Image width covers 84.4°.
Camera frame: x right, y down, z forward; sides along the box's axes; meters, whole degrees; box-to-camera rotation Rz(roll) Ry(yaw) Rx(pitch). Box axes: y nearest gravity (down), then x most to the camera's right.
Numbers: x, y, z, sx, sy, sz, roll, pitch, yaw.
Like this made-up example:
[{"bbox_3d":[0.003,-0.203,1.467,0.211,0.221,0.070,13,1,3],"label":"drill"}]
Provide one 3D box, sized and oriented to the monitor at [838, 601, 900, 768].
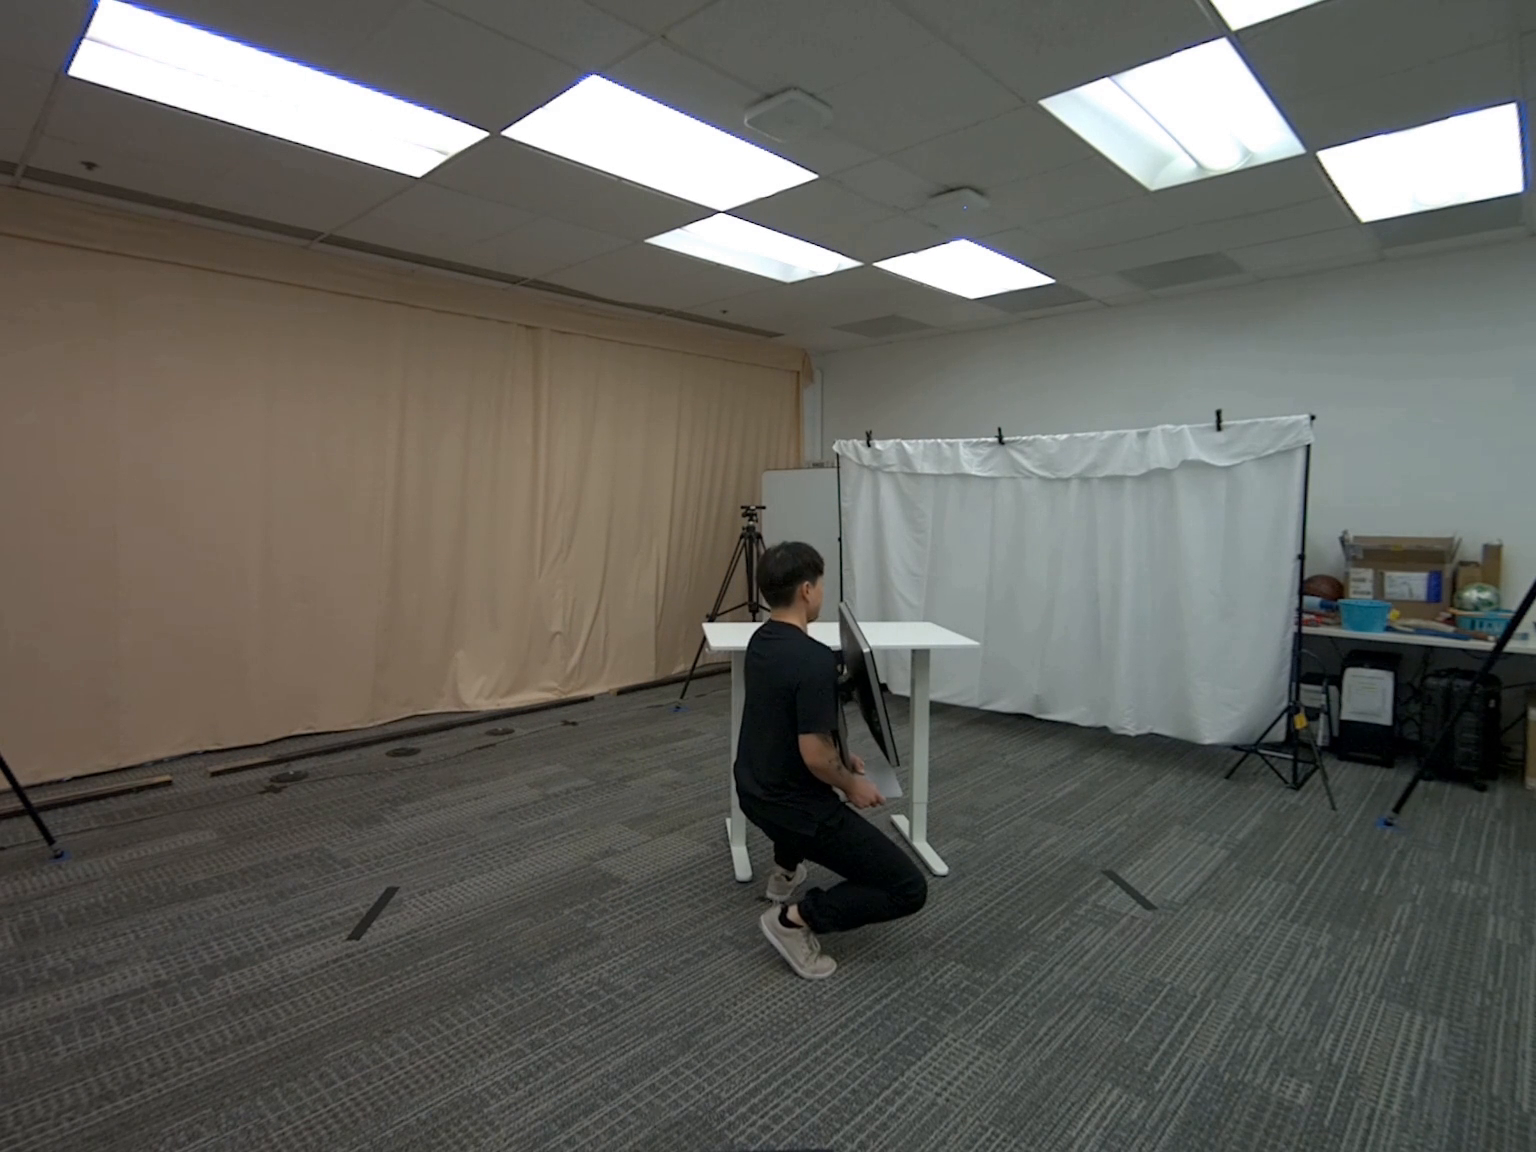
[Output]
[{"bbox_3d":[0.283,0.413,2.656,0.187,0.518,0.544,-3,12,-3],"label":"monitor"}]
